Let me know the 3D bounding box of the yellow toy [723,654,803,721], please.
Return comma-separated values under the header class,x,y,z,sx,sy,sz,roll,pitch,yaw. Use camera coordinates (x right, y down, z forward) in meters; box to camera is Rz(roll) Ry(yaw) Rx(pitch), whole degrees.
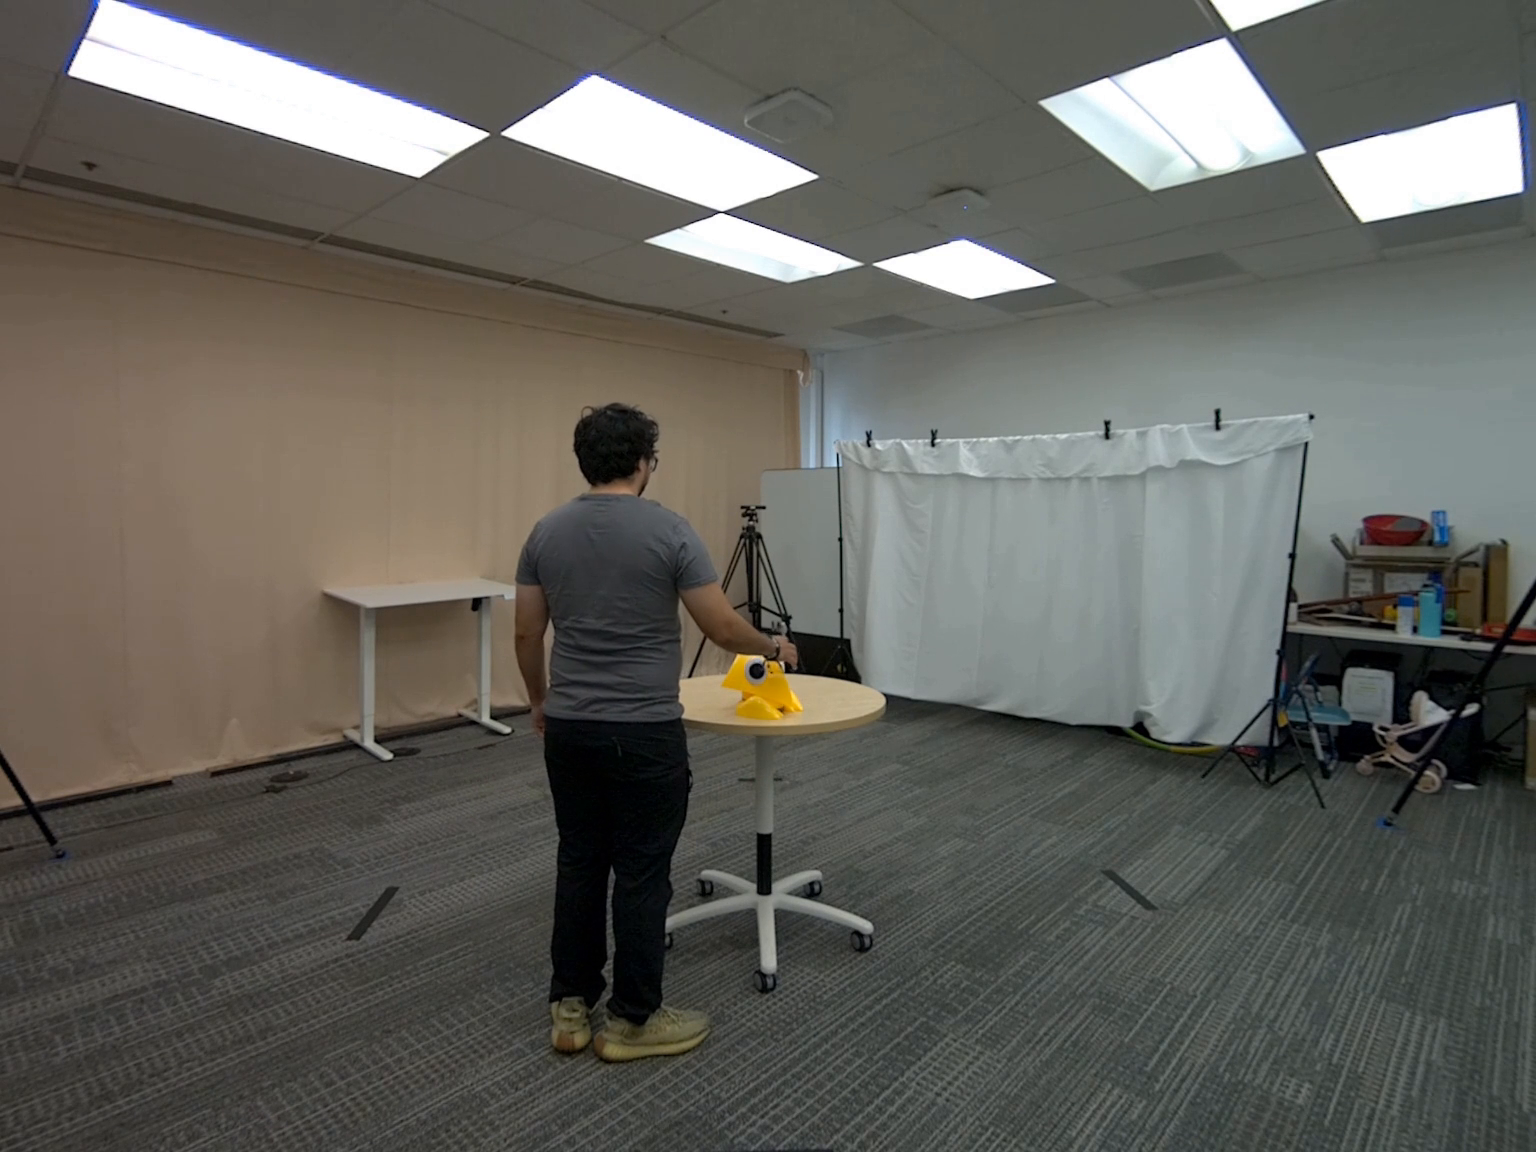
class,x,y,z,sx,sy,sz,roll,pitch,yaw
yellow toy,0.001,0.288,2.492,0.199,0.230,0.199,3,5,34
